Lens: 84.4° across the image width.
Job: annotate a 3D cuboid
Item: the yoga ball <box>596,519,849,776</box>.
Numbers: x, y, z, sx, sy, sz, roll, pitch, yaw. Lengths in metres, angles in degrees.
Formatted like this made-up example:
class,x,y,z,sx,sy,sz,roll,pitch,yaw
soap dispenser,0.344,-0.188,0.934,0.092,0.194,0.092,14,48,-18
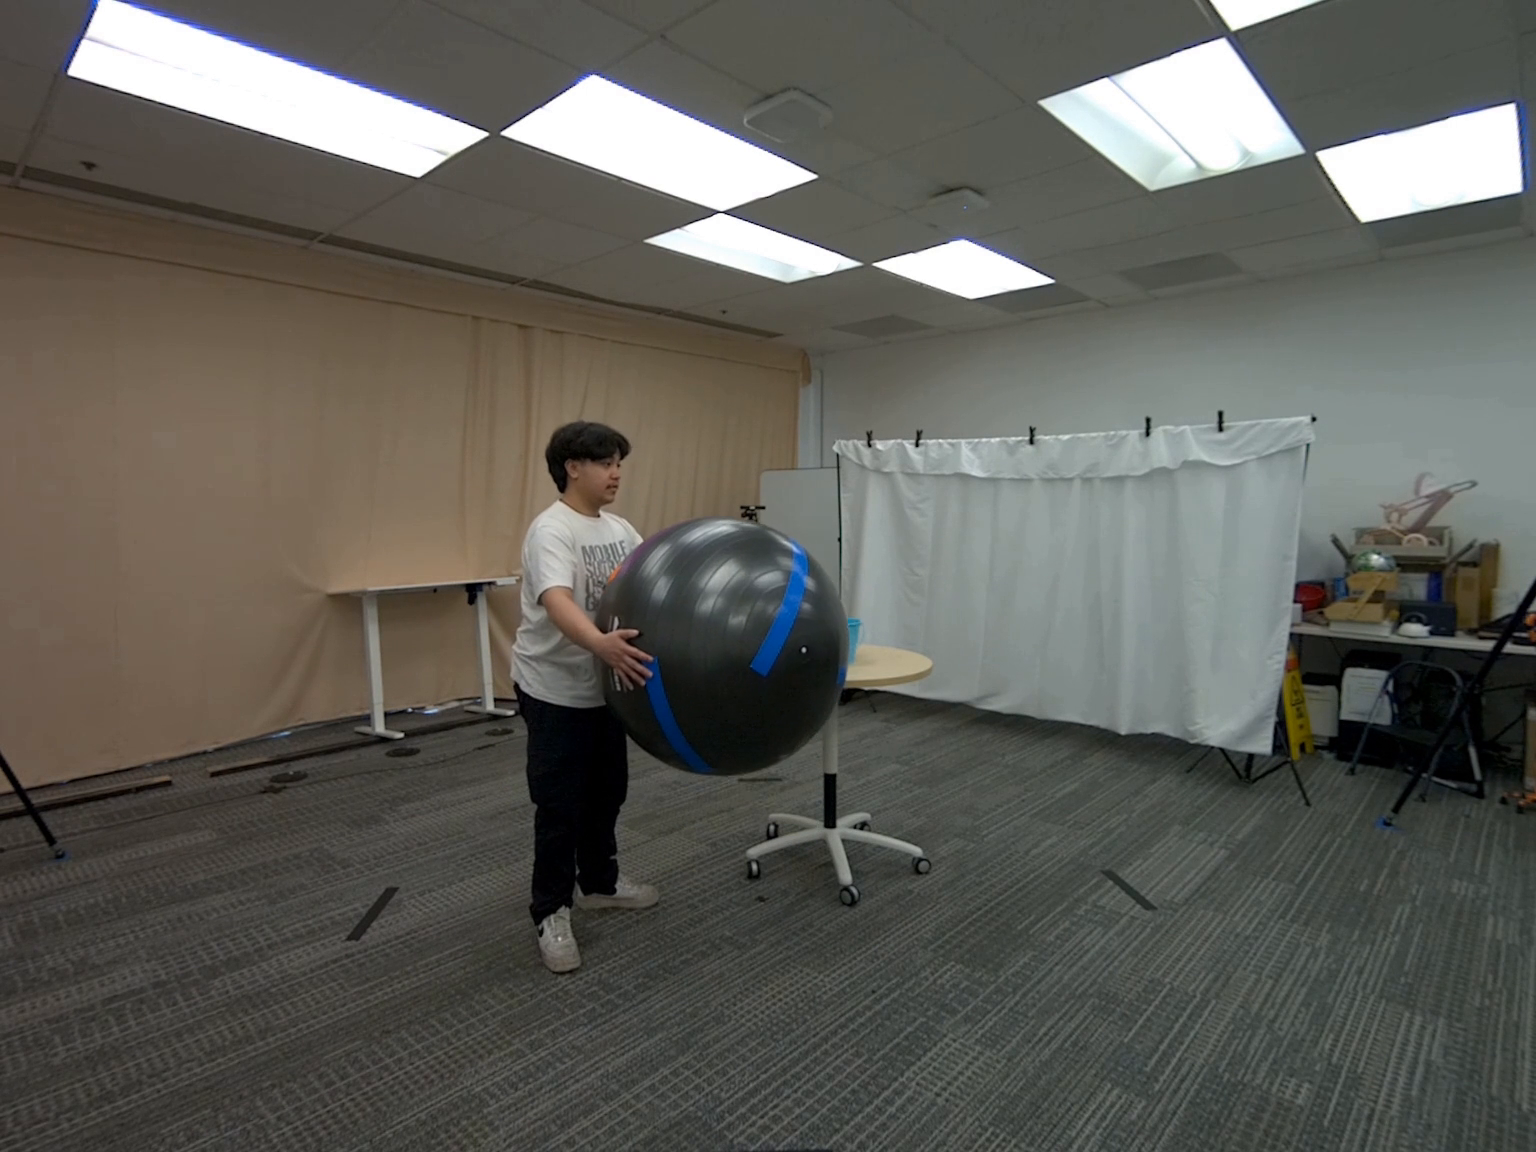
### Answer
class,x,y,z,sx,sy,sz,roll,pitch,yaw
yoga ball,-0.136,0.207,2.492,0.757,0.756,0.761,0,4,-2
